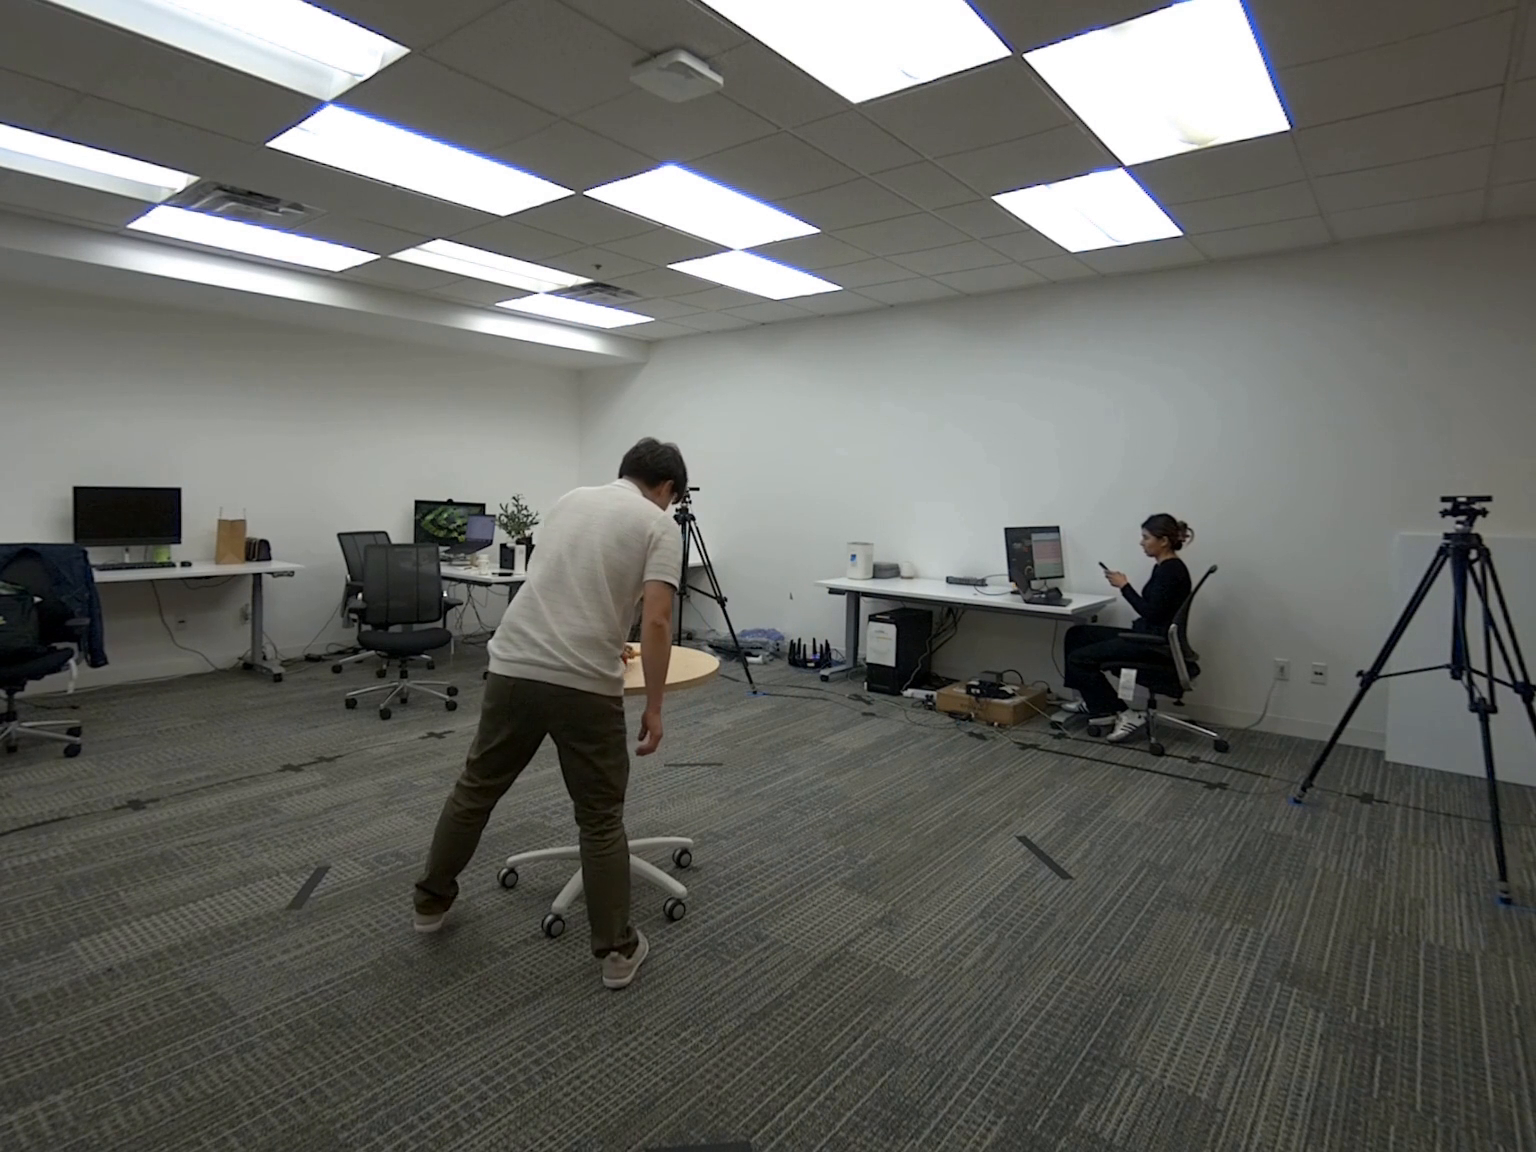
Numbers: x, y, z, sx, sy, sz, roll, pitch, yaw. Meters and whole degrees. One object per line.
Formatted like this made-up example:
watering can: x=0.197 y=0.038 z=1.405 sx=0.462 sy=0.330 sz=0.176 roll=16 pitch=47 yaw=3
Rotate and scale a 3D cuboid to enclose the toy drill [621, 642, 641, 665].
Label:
toy drill: x=-0.507 y=0.272 z=2.896 sx=0.166 sy=0.061 sz=0.149 roll=1 pitch=3 yaw=-19
